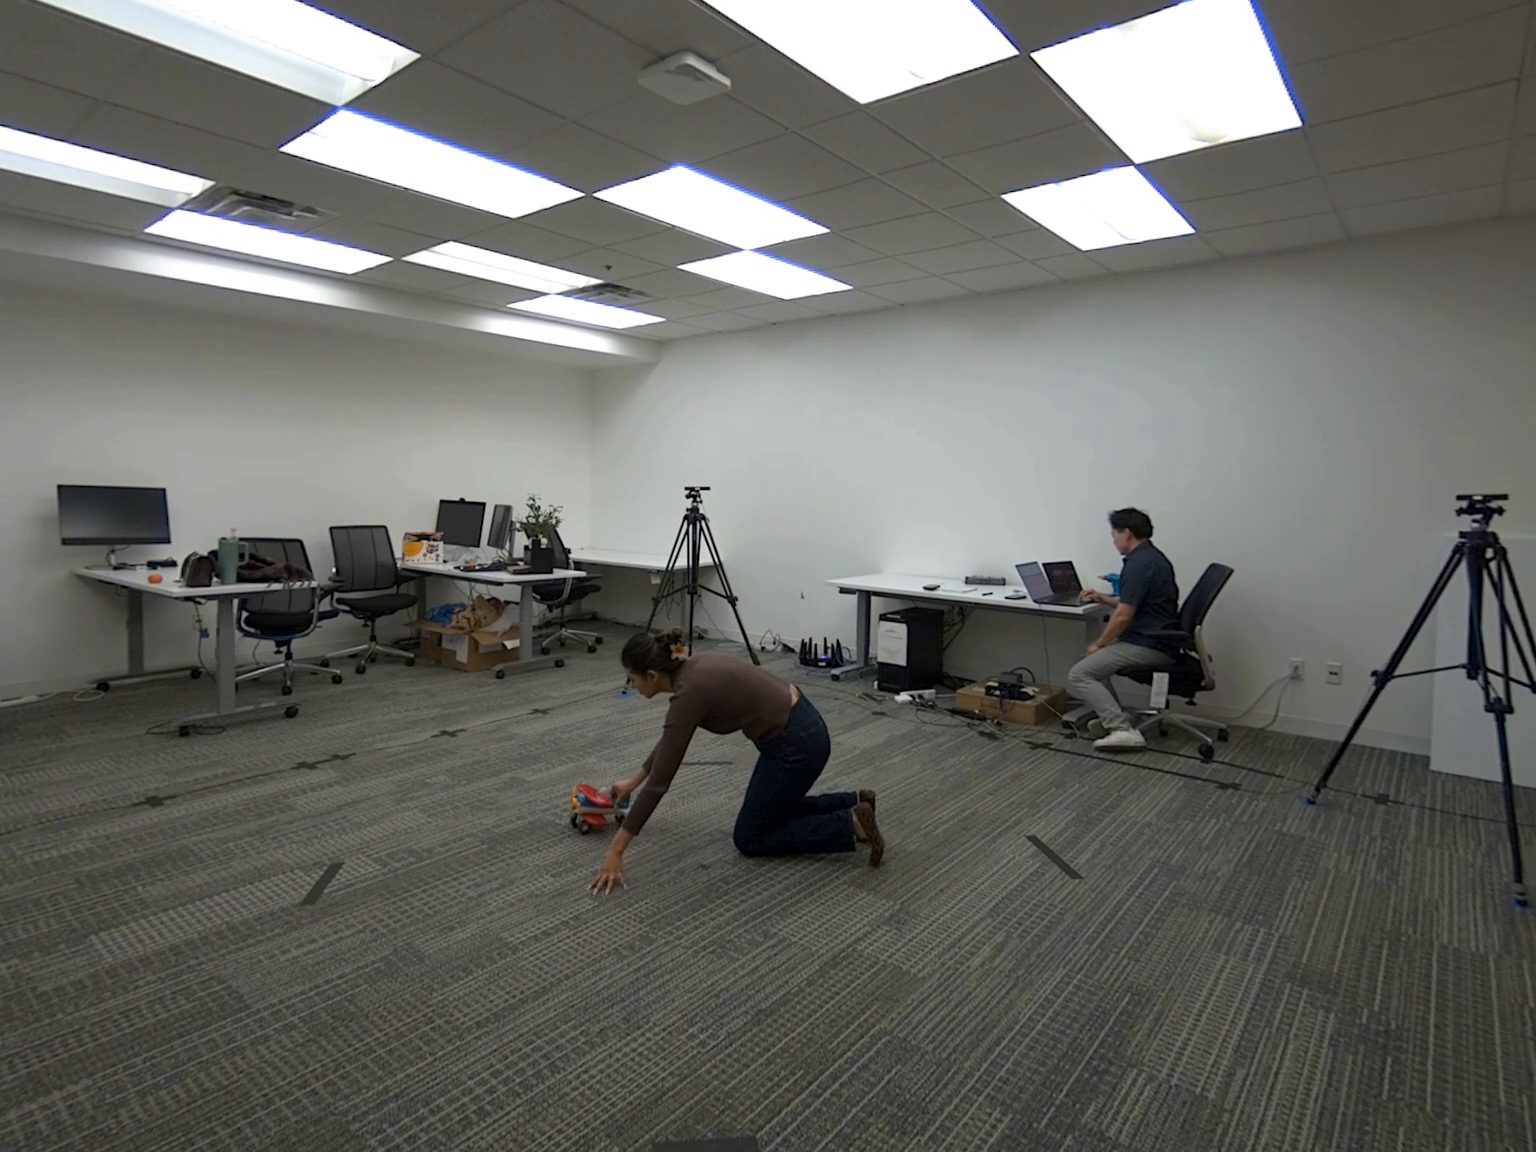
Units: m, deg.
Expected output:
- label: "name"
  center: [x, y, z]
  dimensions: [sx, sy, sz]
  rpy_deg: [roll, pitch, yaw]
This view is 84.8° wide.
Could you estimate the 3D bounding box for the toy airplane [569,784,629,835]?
- label: "toy airplane"
  center: [-0.707, 0.947, 3.498]
  dimensions: [0.258, 0.156, 0.253]
  rpy_deg: [3, 7, 30]
